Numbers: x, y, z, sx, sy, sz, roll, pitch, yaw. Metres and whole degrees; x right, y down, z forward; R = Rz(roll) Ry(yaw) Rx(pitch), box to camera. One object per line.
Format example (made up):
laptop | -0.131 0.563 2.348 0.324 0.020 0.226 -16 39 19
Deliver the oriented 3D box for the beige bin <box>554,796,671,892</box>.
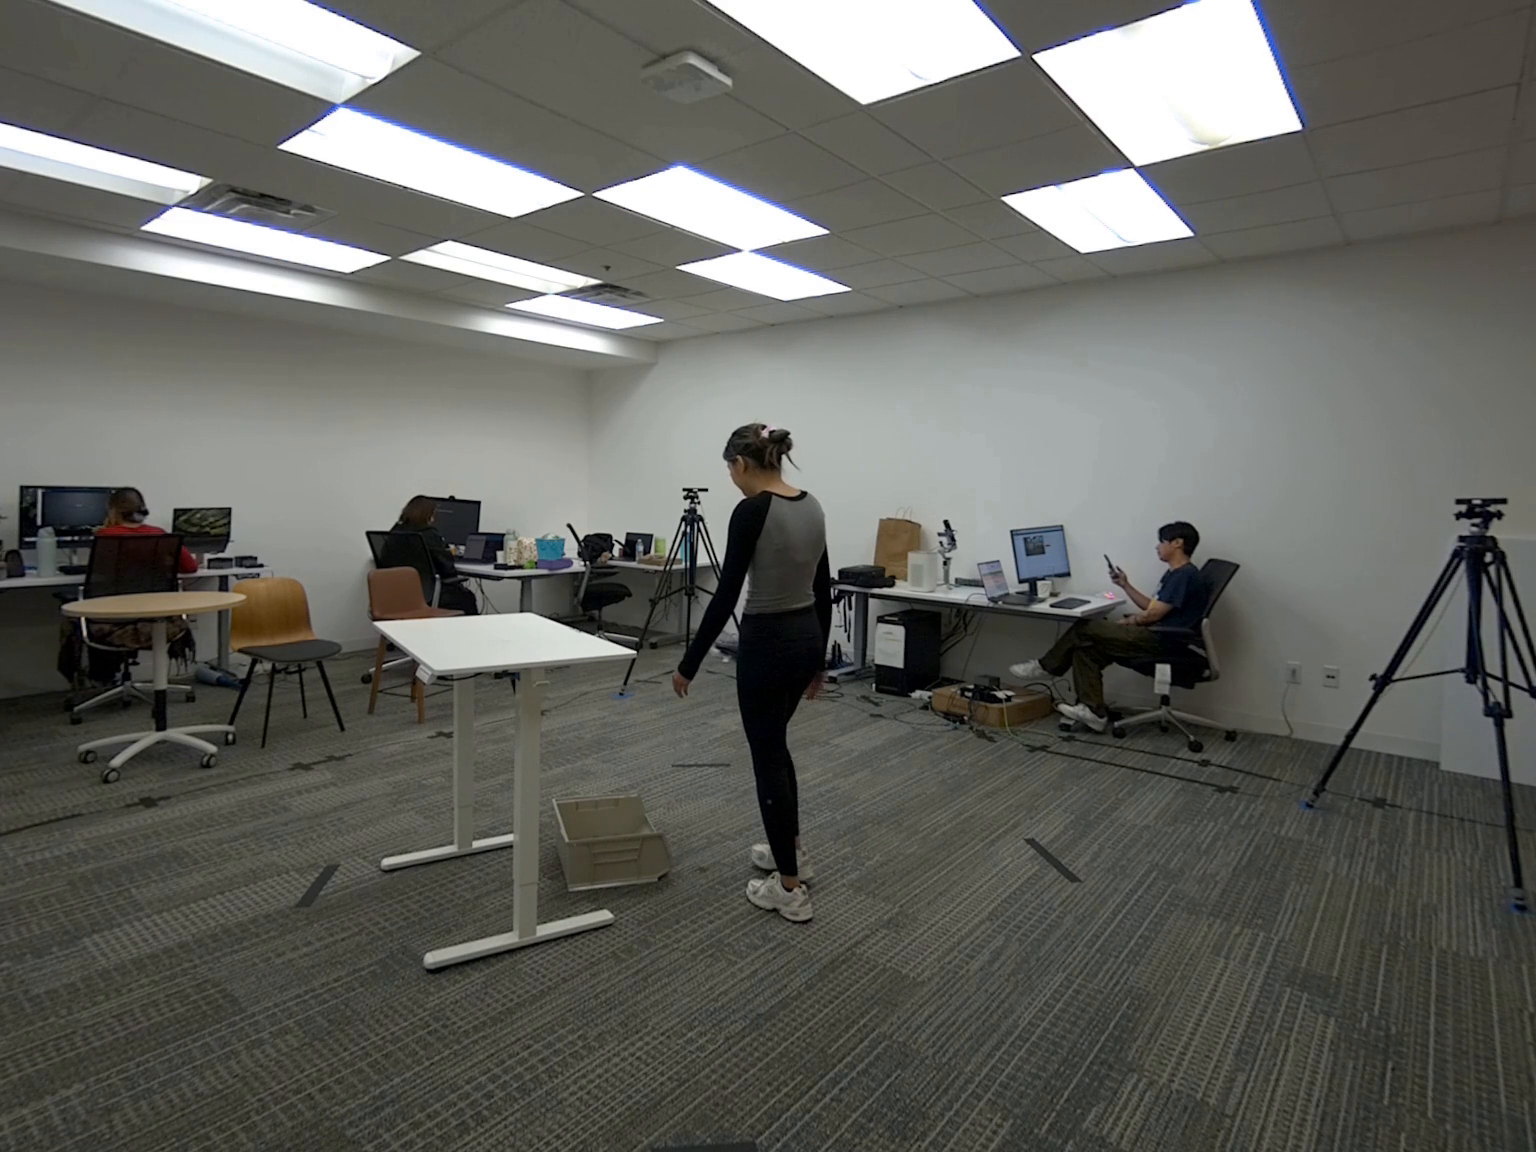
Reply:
beige bin | -0.598 0.970 3.152 0.370 0.188 0.433 -2 7 -20
